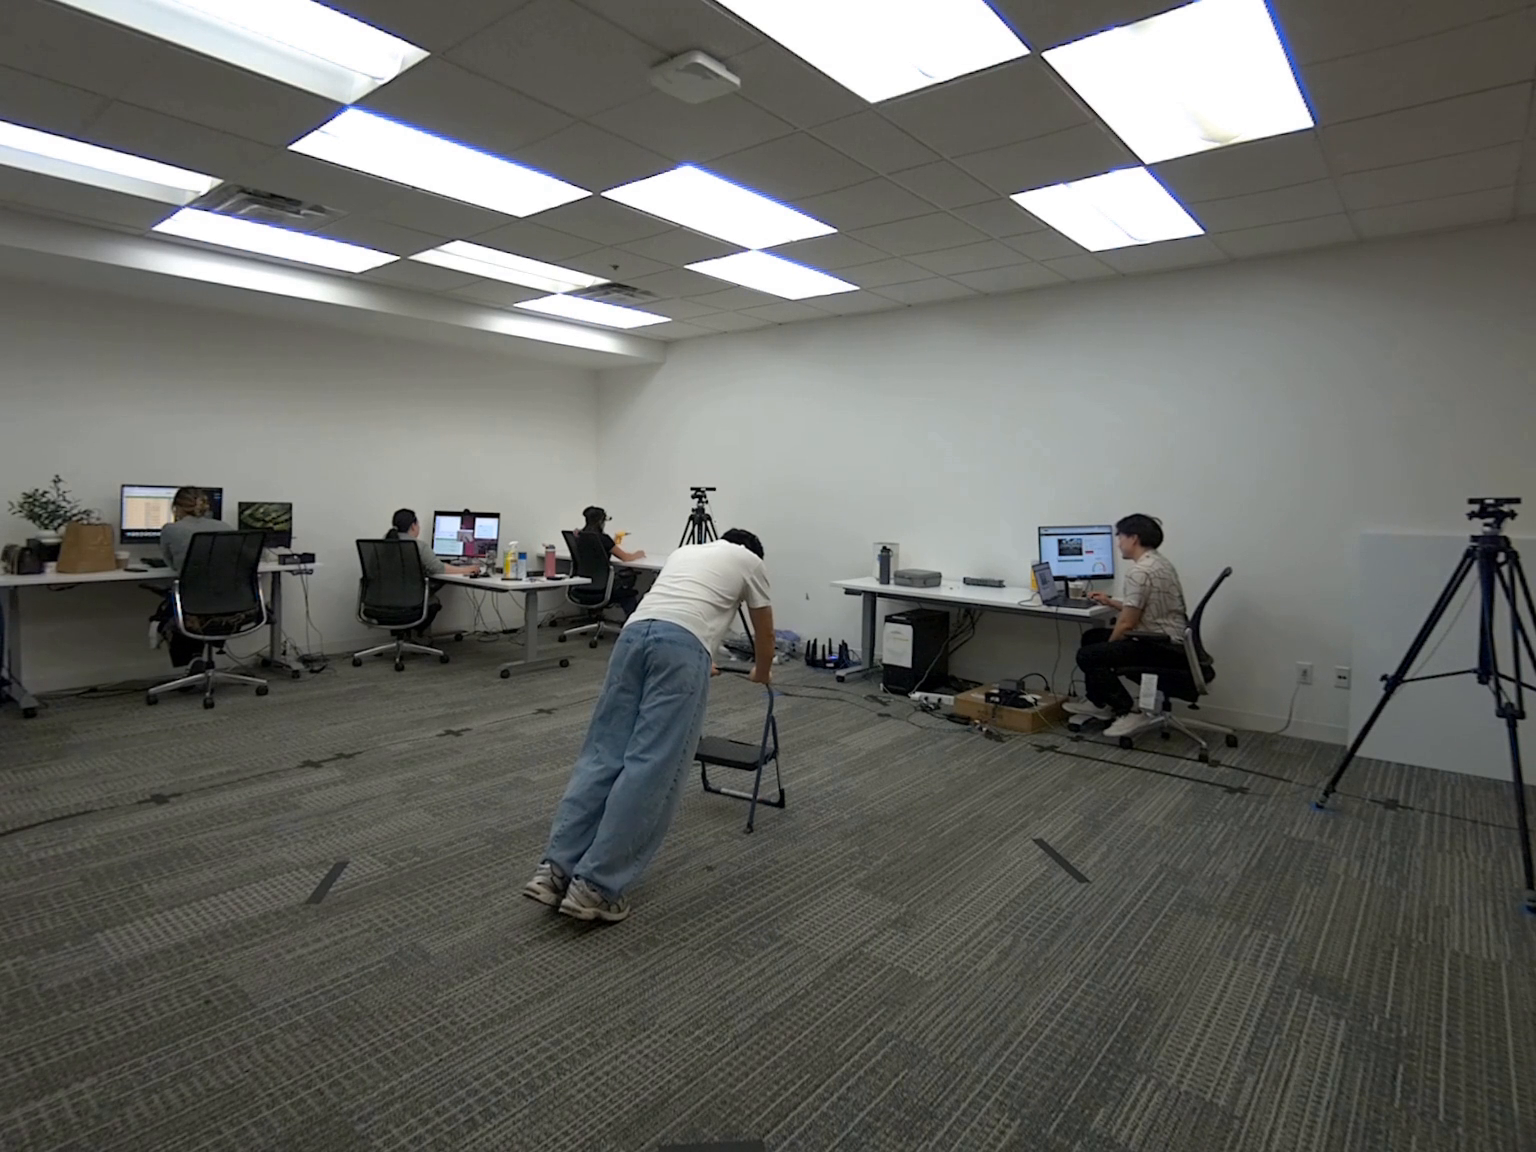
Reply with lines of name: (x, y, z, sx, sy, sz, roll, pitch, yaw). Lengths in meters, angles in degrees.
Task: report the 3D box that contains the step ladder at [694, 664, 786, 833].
step ladder: (-0.182, 0.707, 3.677, 0.443, 0.605, 0.340, 3, 3, 28)
